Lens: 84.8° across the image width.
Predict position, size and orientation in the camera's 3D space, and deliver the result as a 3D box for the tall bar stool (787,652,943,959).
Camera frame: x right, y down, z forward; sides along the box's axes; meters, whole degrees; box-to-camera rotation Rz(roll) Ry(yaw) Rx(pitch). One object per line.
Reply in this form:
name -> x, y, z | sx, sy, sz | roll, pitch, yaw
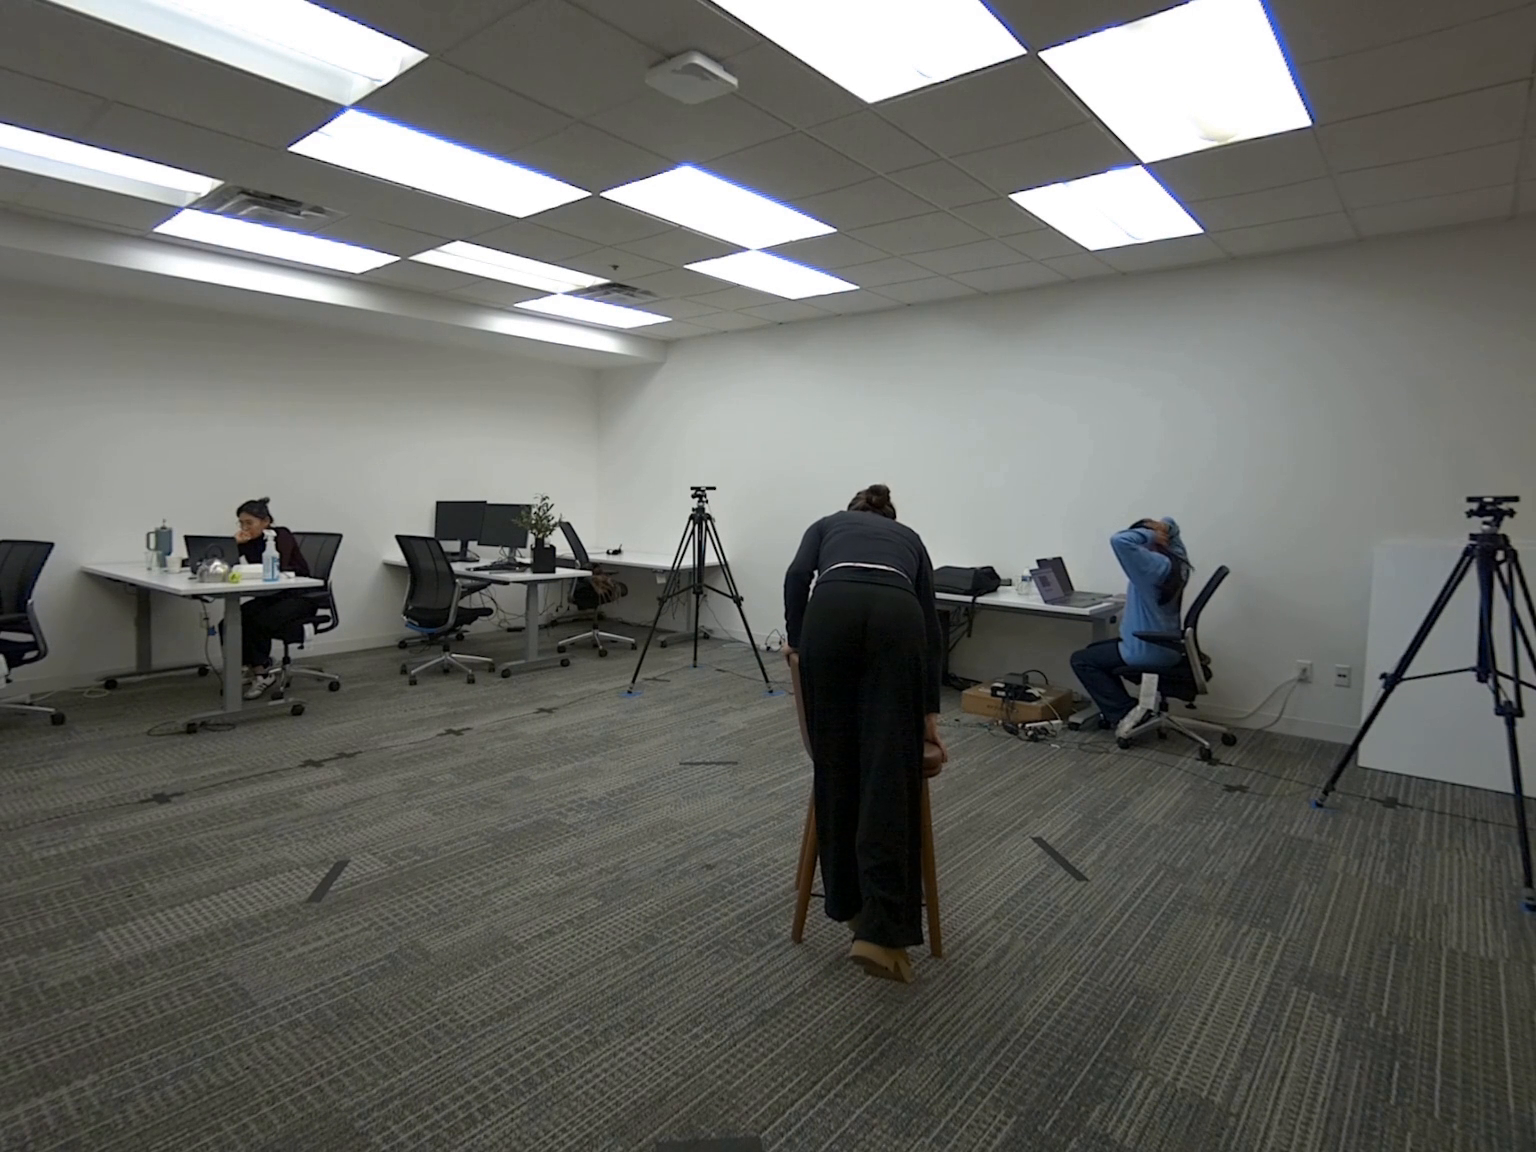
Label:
tall bar stool -> 0.309, 0.677, 2.749 | 0.471, 0.887, 0.455 | 1, 3, 6
